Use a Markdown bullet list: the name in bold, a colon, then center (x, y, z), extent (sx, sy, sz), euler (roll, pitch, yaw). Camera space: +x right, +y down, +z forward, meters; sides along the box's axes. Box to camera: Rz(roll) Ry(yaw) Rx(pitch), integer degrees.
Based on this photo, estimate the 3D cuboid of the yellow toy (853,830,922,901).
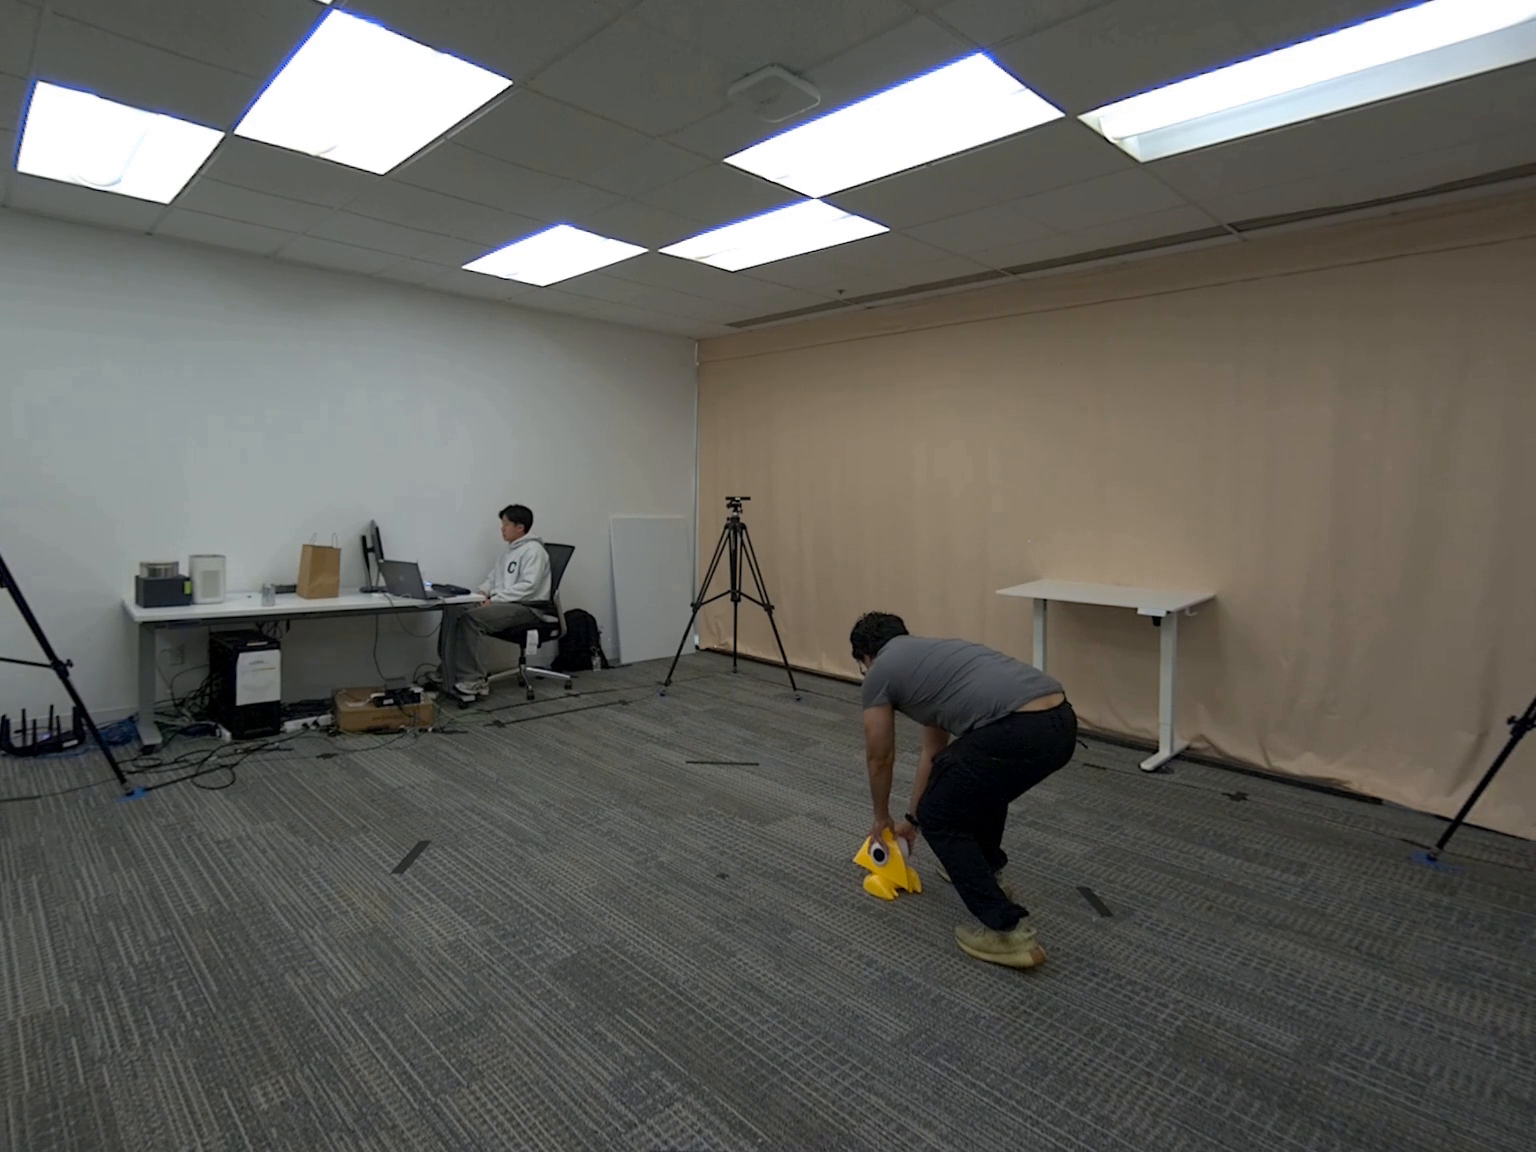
- **yellow toy**: center (0.443, 1.008, 3.052), extent (0.201, 0.230, 0.197), euler (0, 3, -29)
